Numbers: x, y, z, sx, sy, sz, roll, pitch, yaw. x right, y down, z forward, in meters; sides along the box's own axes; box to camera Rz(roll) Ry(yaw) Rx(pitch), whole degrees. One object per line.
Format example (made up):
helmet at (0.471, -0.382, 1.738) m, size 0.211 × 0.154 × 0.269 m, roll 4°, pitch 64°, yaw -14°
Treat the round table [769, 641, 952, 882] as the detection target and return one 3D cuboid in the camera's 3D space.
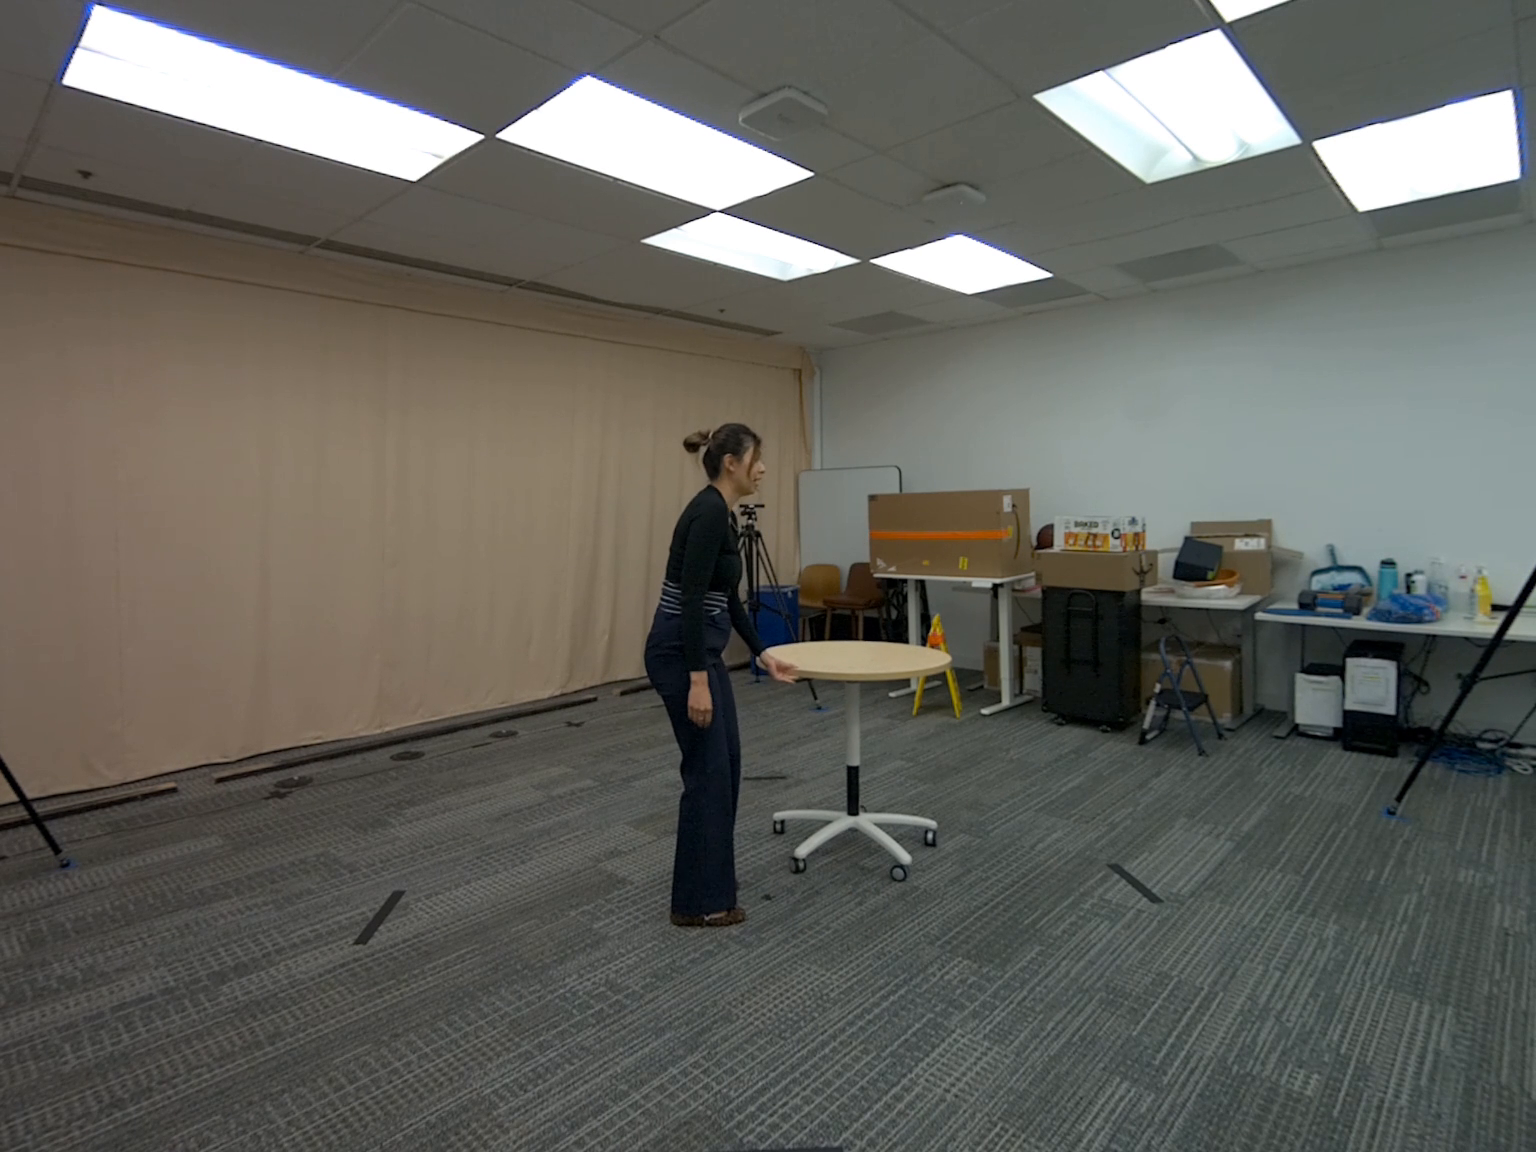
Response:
round table at (0.341, 0.710, 3.383) m, size 0.763 × 0.792 × 0.766 m, roll 0°, pitch 3°, yaw -2°
